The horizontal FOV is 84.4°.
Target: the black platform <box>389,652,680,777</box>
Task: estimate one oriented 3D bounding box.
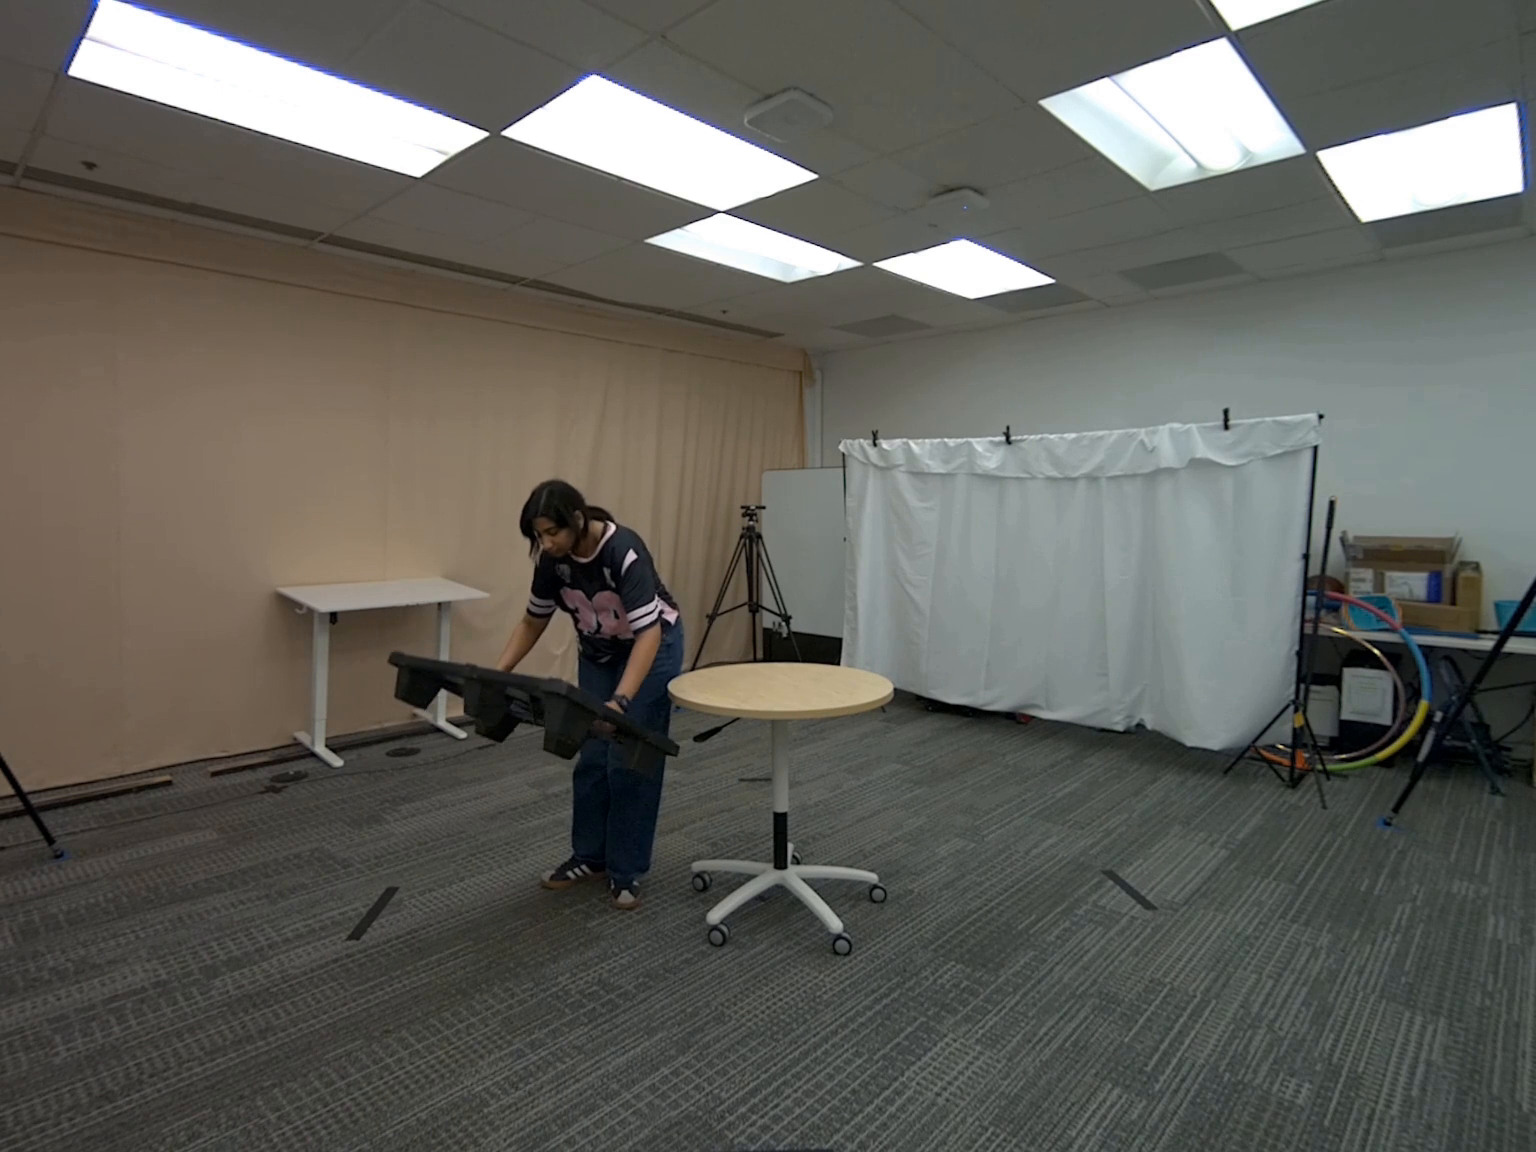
[{"bbox_3d":[-0.769,0.457,2.685,0.831,0.144,0.584,4,-25,33],"label":"black platform"}]
